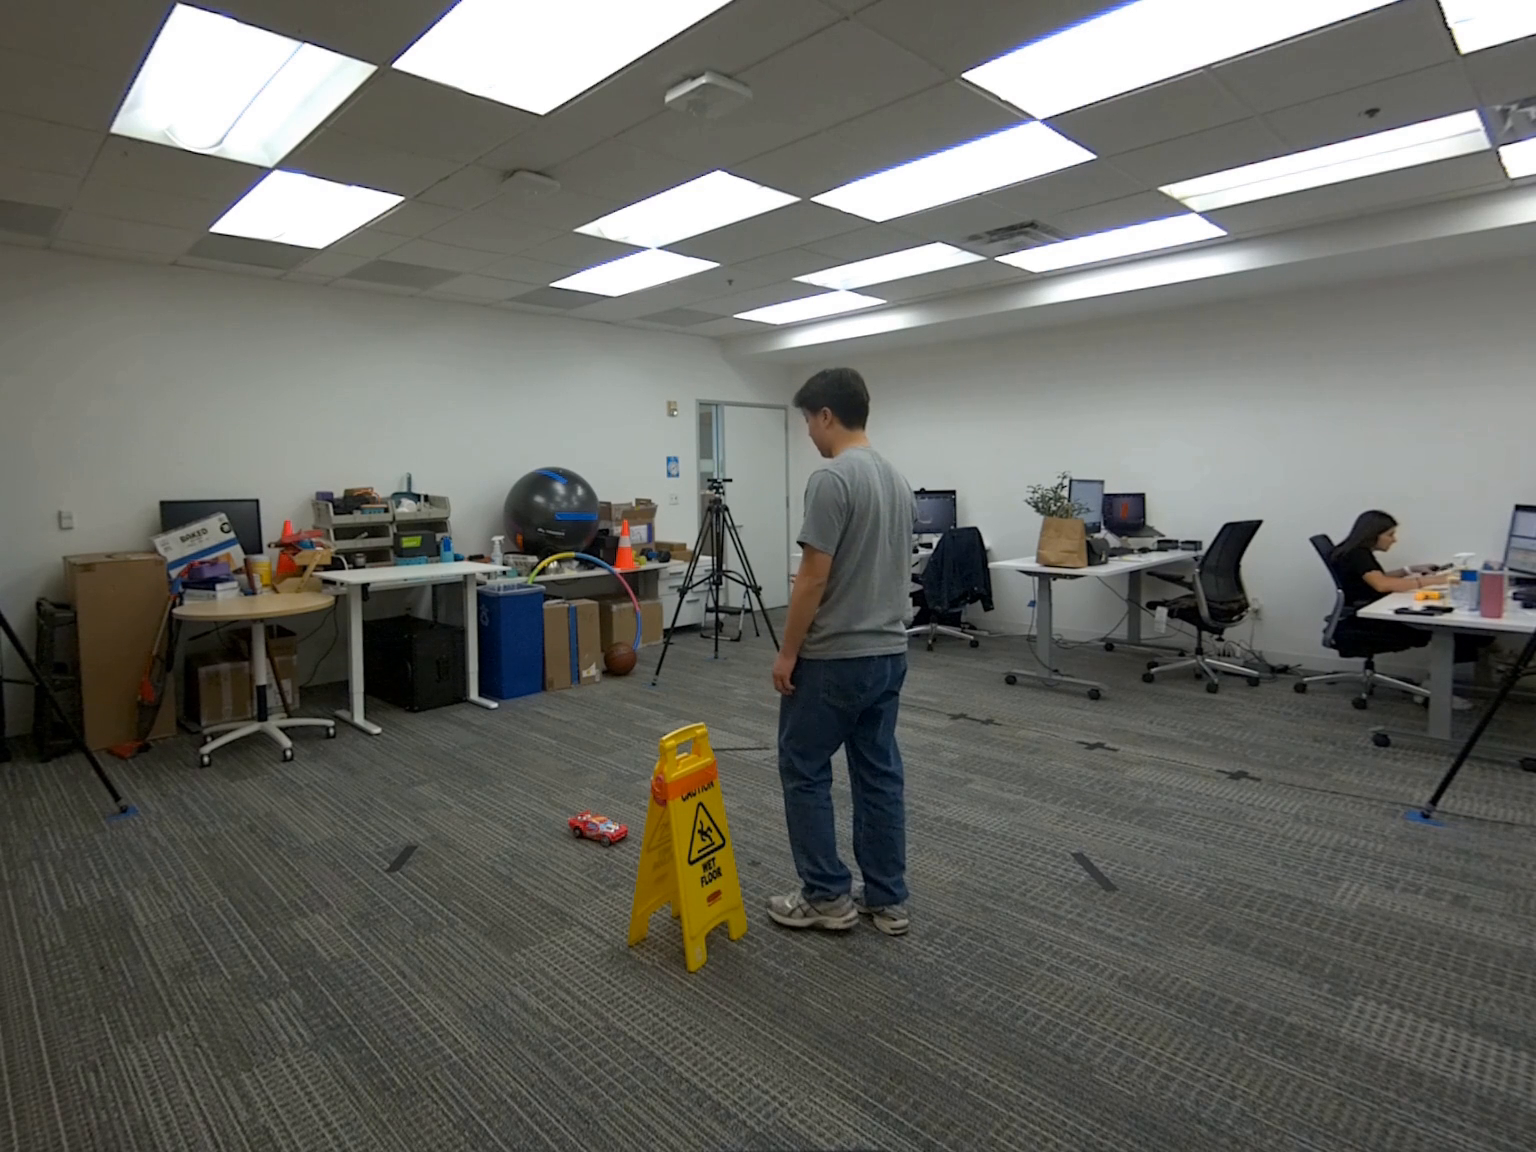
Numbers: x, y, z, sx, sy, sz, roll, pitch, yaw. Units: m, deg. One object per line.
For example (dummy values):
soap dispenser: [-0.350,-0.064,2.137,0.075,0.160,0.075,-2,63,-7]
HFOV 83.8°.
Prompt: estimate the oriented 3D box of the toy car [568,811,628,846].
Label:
toy car: [-0.676,0.997,3.368,0.263,0.082,0.127,15,14,31]
